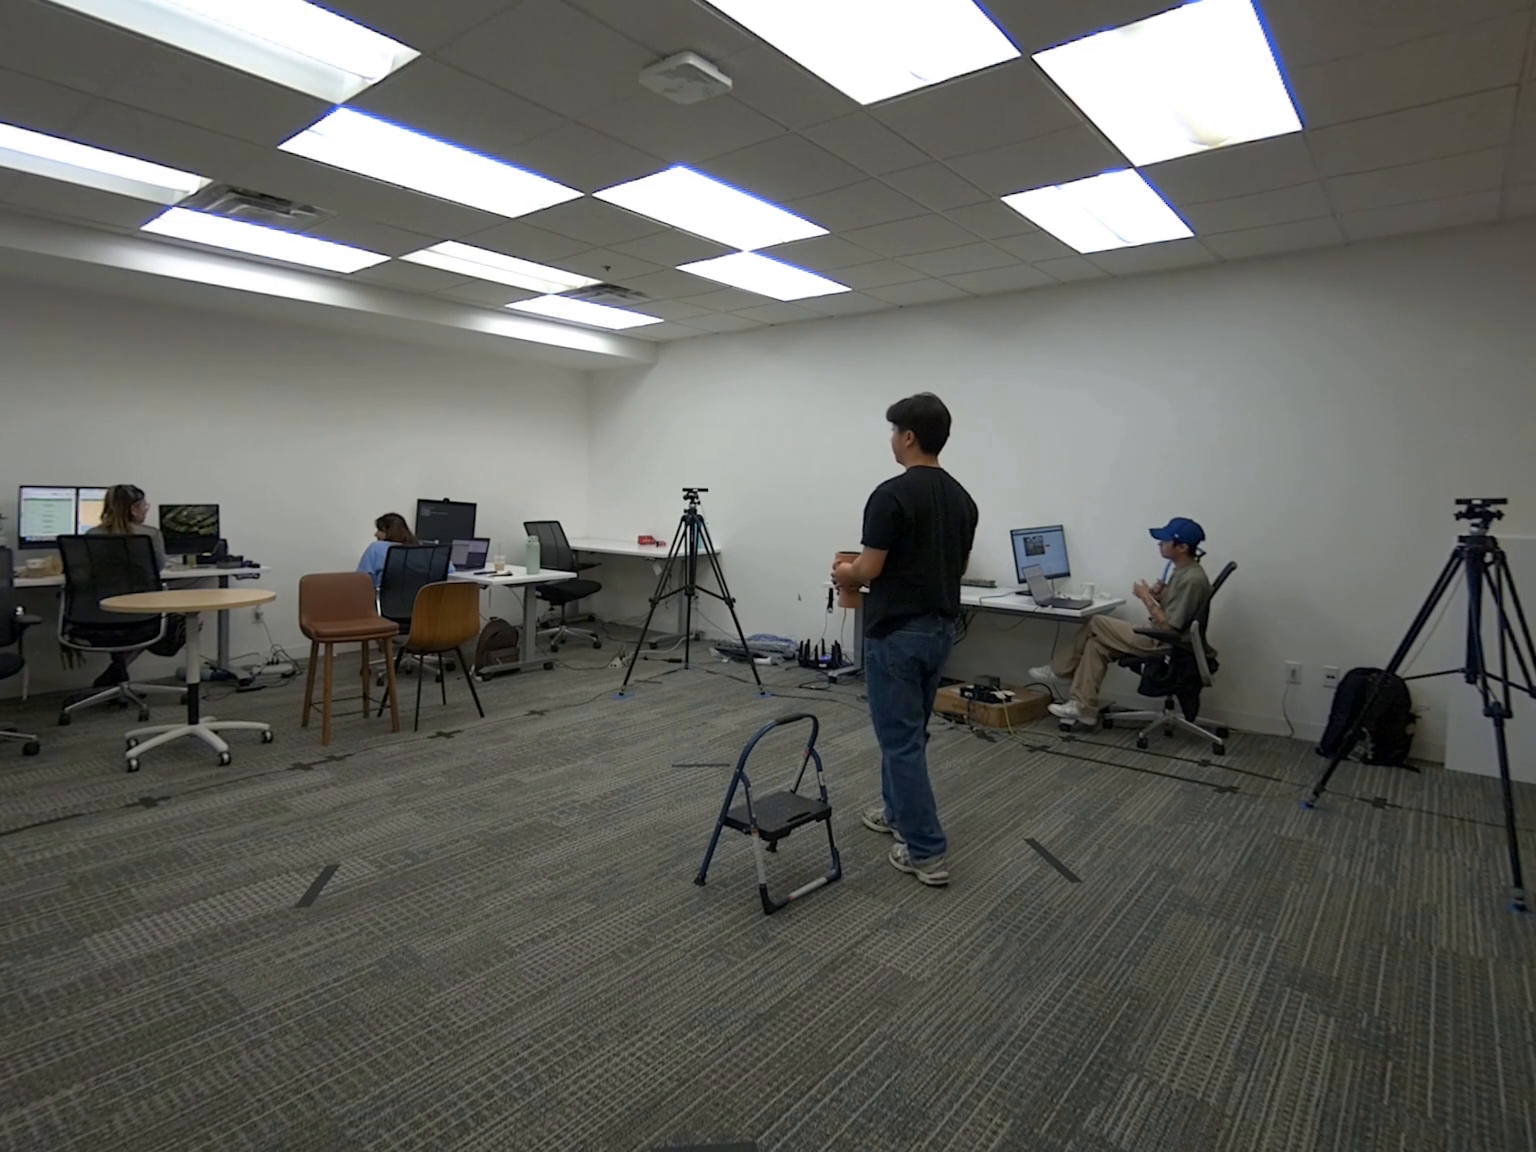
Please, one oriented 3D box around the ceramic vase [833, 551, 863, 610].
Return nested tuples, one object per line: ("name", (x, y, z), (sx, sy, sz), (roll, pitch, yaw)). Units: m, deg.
("ceramic vase", (0.326, 0.011, 3.480), (0.159, 0.218, 0.135), (4, 6, 0))
